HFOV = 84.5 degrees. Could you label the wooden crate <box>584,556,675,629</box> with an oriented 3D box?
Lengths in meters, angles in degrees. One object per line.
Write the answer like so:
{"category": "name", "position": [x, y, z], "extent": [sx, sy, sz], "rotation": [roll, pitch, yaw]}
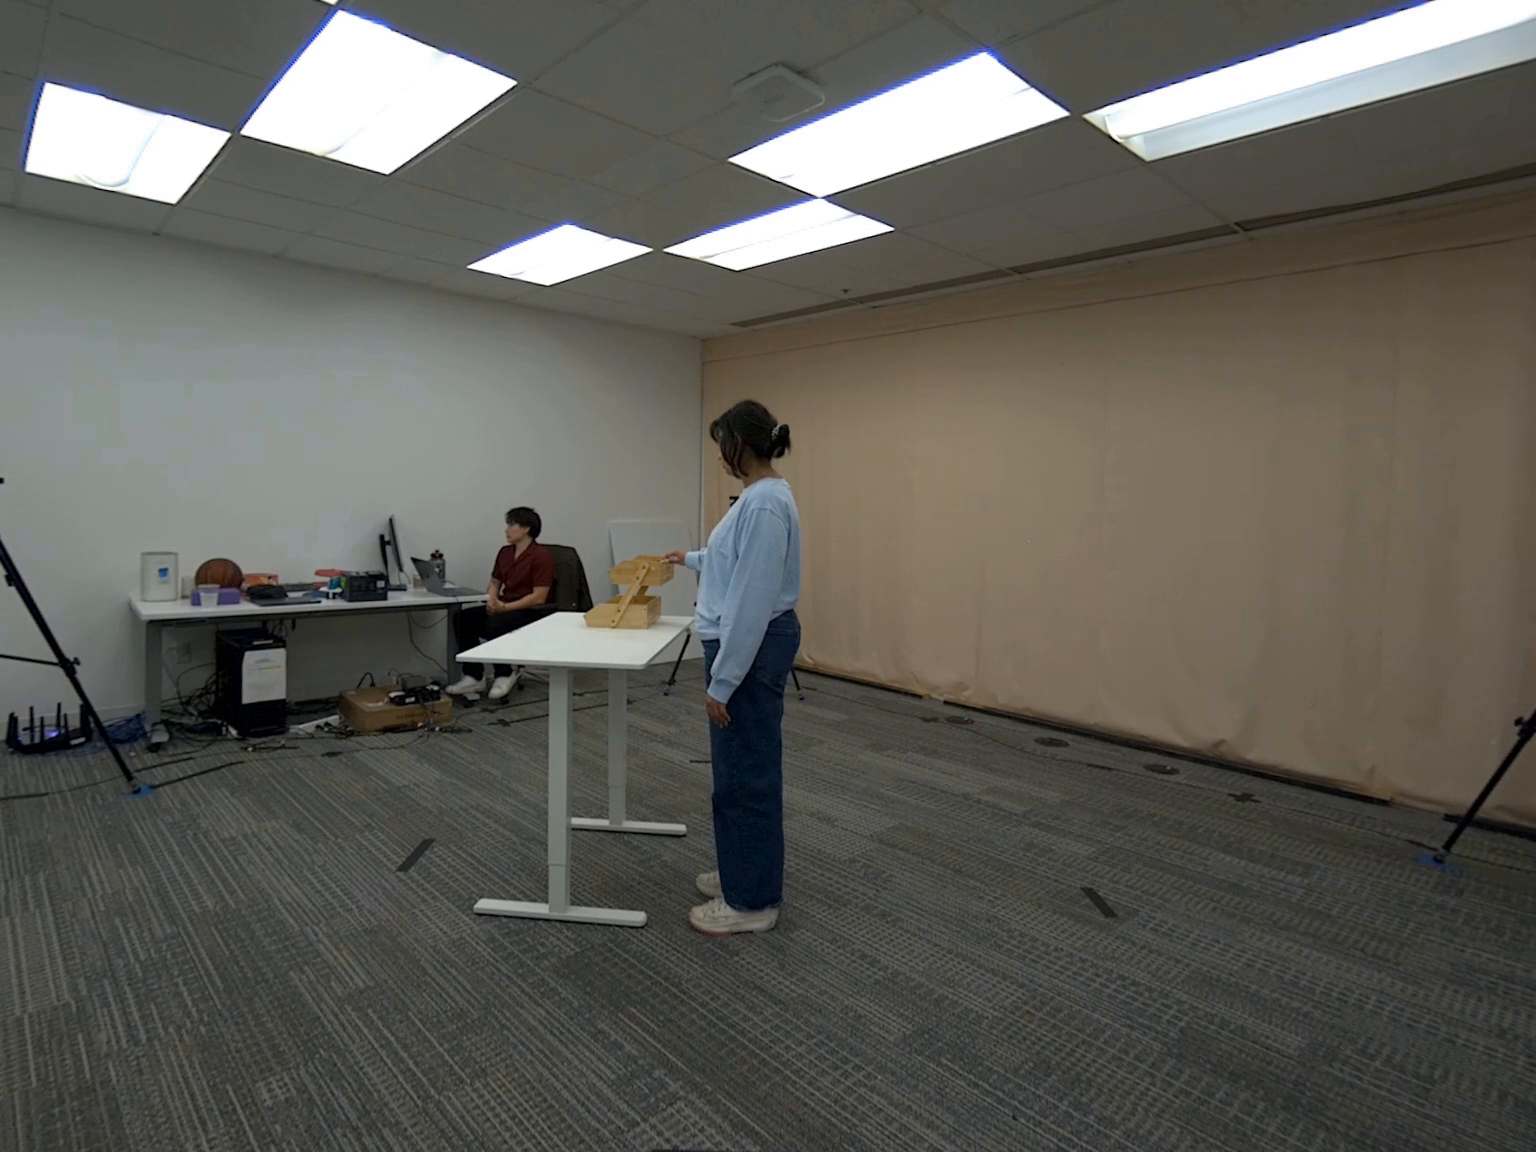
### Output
{"category": "wooden crate", "position": [-0.566, 0.055, 3.356], "extent": [0.303, 0.272, 0.324], "rotation": [4, 5, 4]}
